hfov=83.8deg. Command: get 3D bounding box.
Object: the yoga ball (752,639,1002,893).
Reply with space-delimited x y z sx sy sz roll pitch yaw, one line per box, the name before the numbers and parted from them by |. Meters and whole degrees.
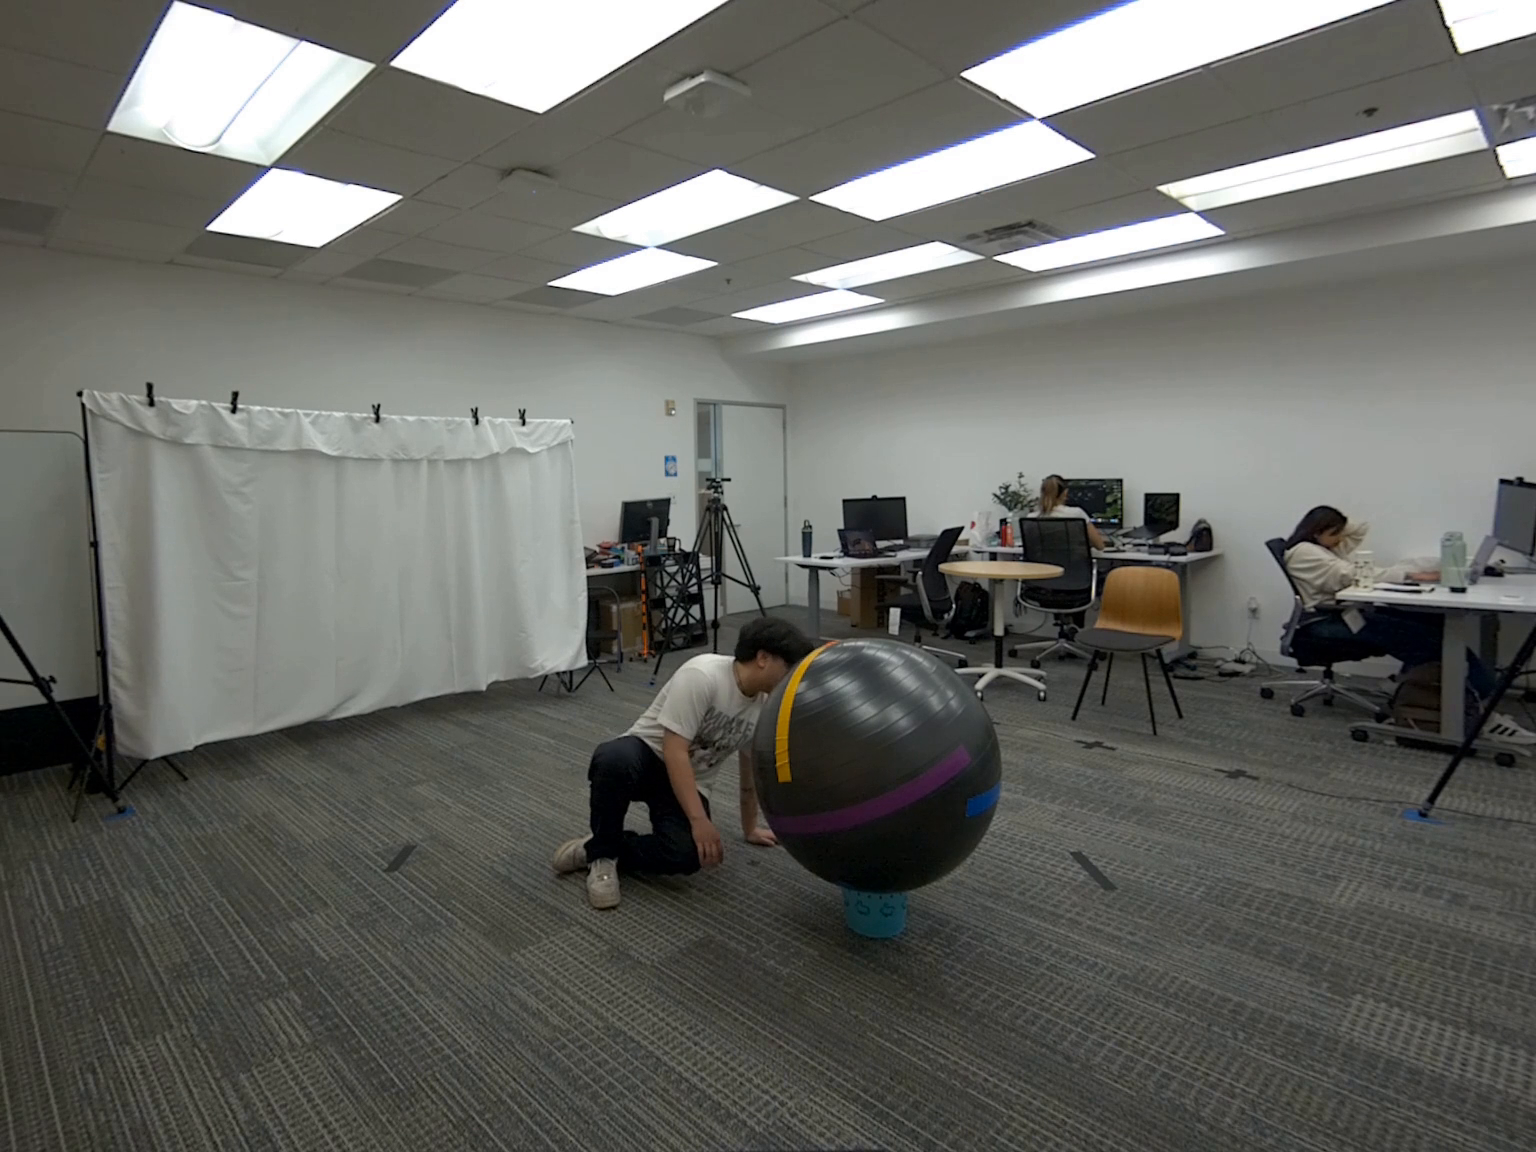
yoga ball | 0.333 0.577 2.639 0.757 0.755 0.762 -1 5 -2
